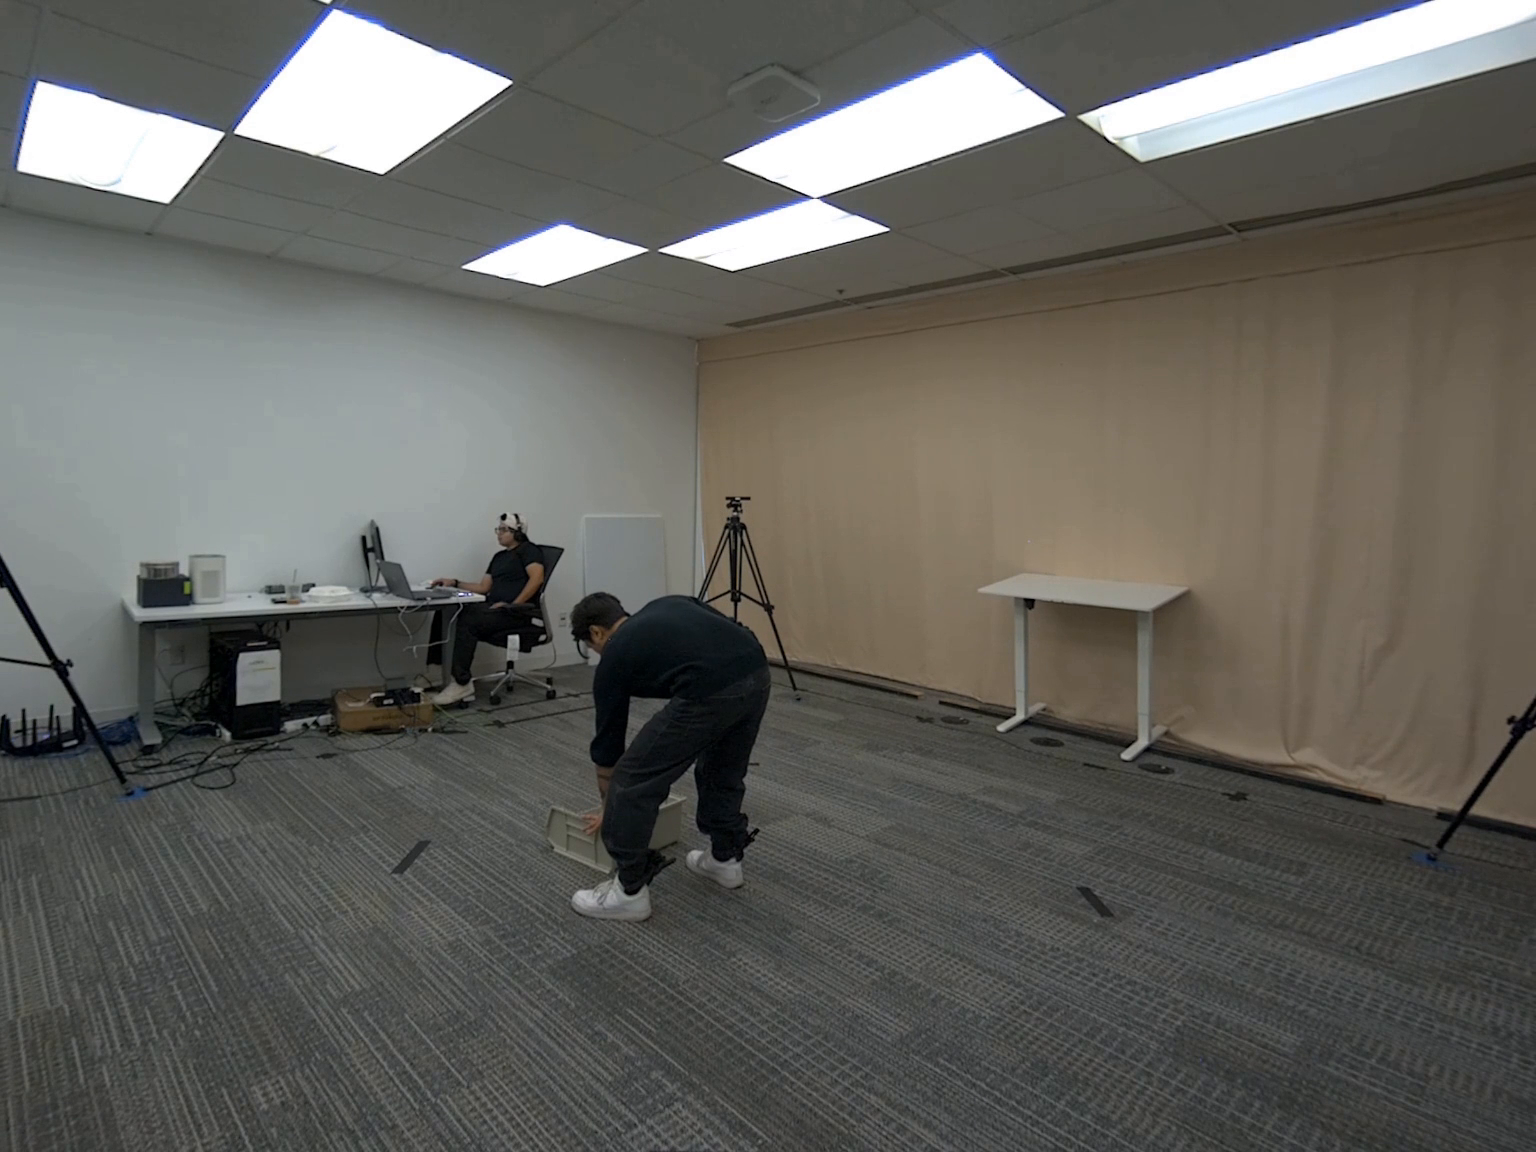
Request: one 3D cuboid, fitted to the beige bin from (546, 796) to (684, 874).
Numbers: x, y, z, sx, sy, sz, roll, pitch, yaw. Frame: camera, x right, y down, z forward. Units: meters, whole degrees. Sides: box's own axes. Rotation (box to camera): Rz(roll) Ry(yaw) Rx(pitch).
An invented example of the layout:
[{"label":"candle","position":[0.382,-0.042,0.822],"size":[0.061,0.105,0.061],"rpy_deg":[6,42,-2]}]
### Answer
[{"label":"beige bin","position":[-0.613,0.987,3.364],"size":[0.387,0.188,0.413],"rpy_deg":[6,6,37]}]
